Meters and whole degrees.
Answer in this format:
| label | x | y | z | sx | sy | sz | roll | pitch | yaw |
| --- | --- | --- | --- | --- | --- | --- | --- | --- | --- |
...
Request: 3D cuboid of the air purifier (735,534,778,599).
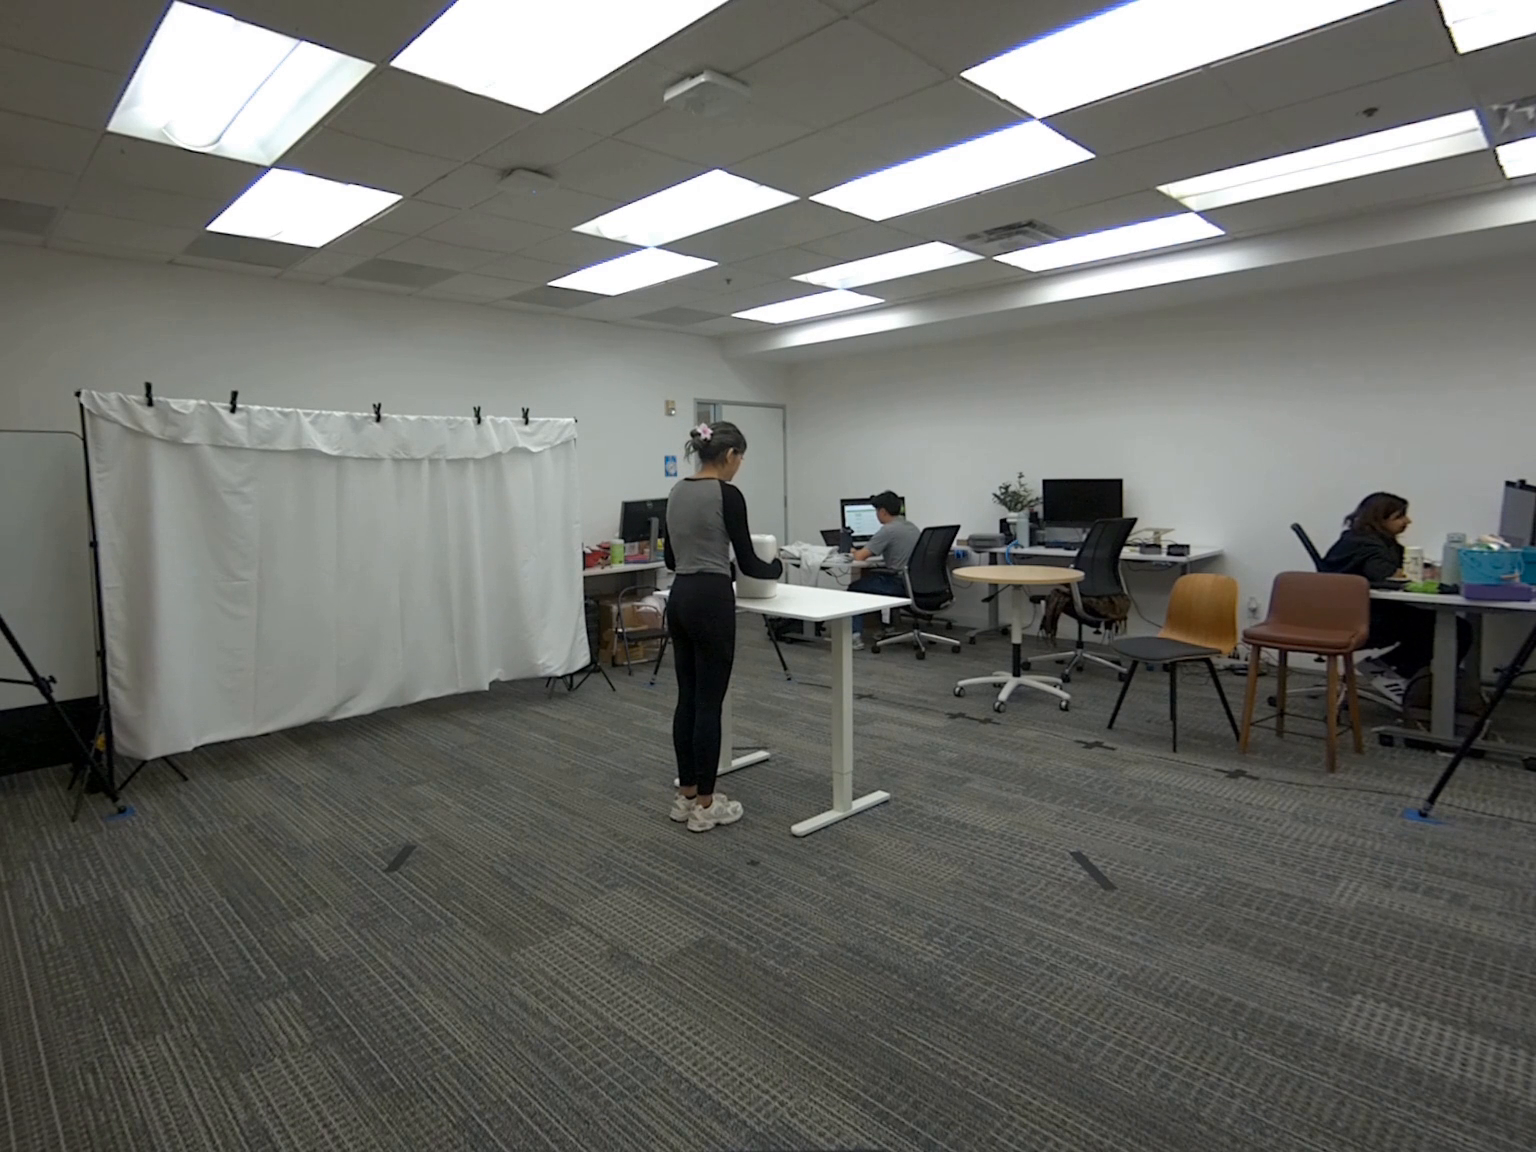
| label | x | y | z | sx | sy | sz | roll | pitch | yaw |
| --- | --- | --- | --- | --- | --- | --- | --- | --- | --- |
| air purifier | -0.051 | -0.046 | 3.741 | 0.173 | 0.264 | 0.170 | 0 | 7 | 12 |
